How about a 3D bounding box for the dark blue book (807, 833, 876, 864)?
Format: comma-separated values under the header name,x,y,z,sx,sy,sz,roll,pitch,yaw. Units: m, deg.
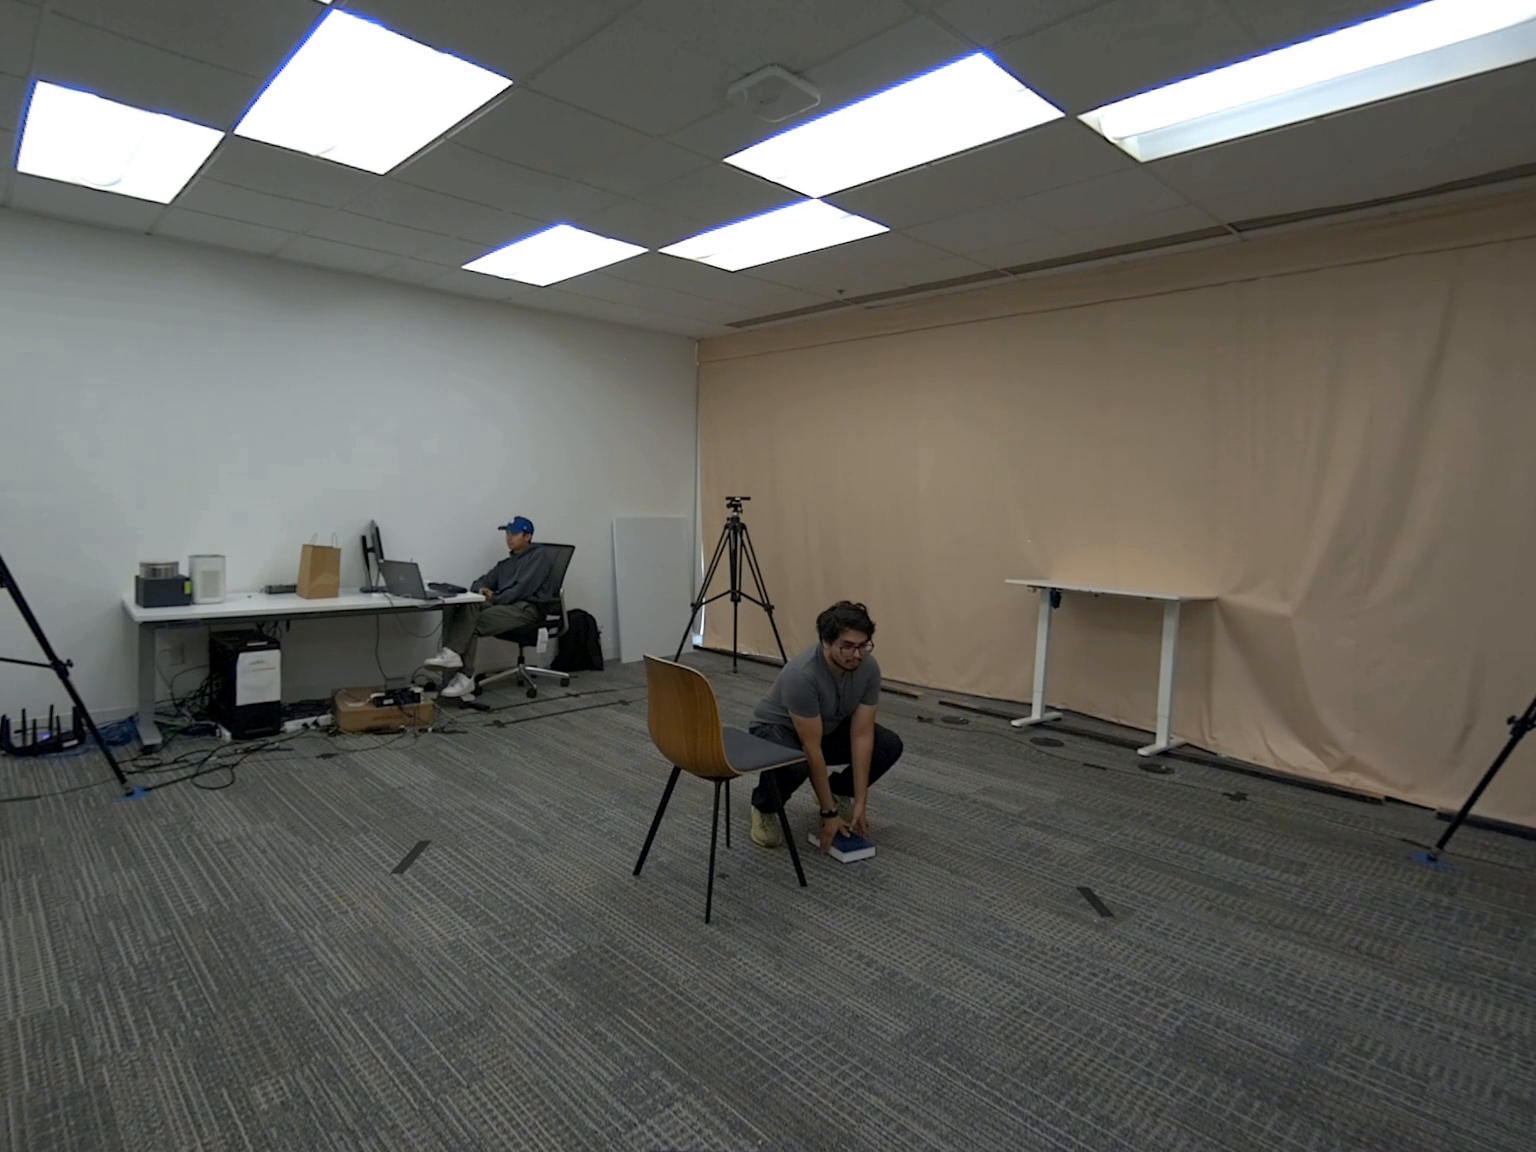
name,x,y,z,sx,sy,sz,roll,pitch,yaw
dark blue book,0.282,1.069,3.372,0.160,0.045,0.251,-2,6,-32
